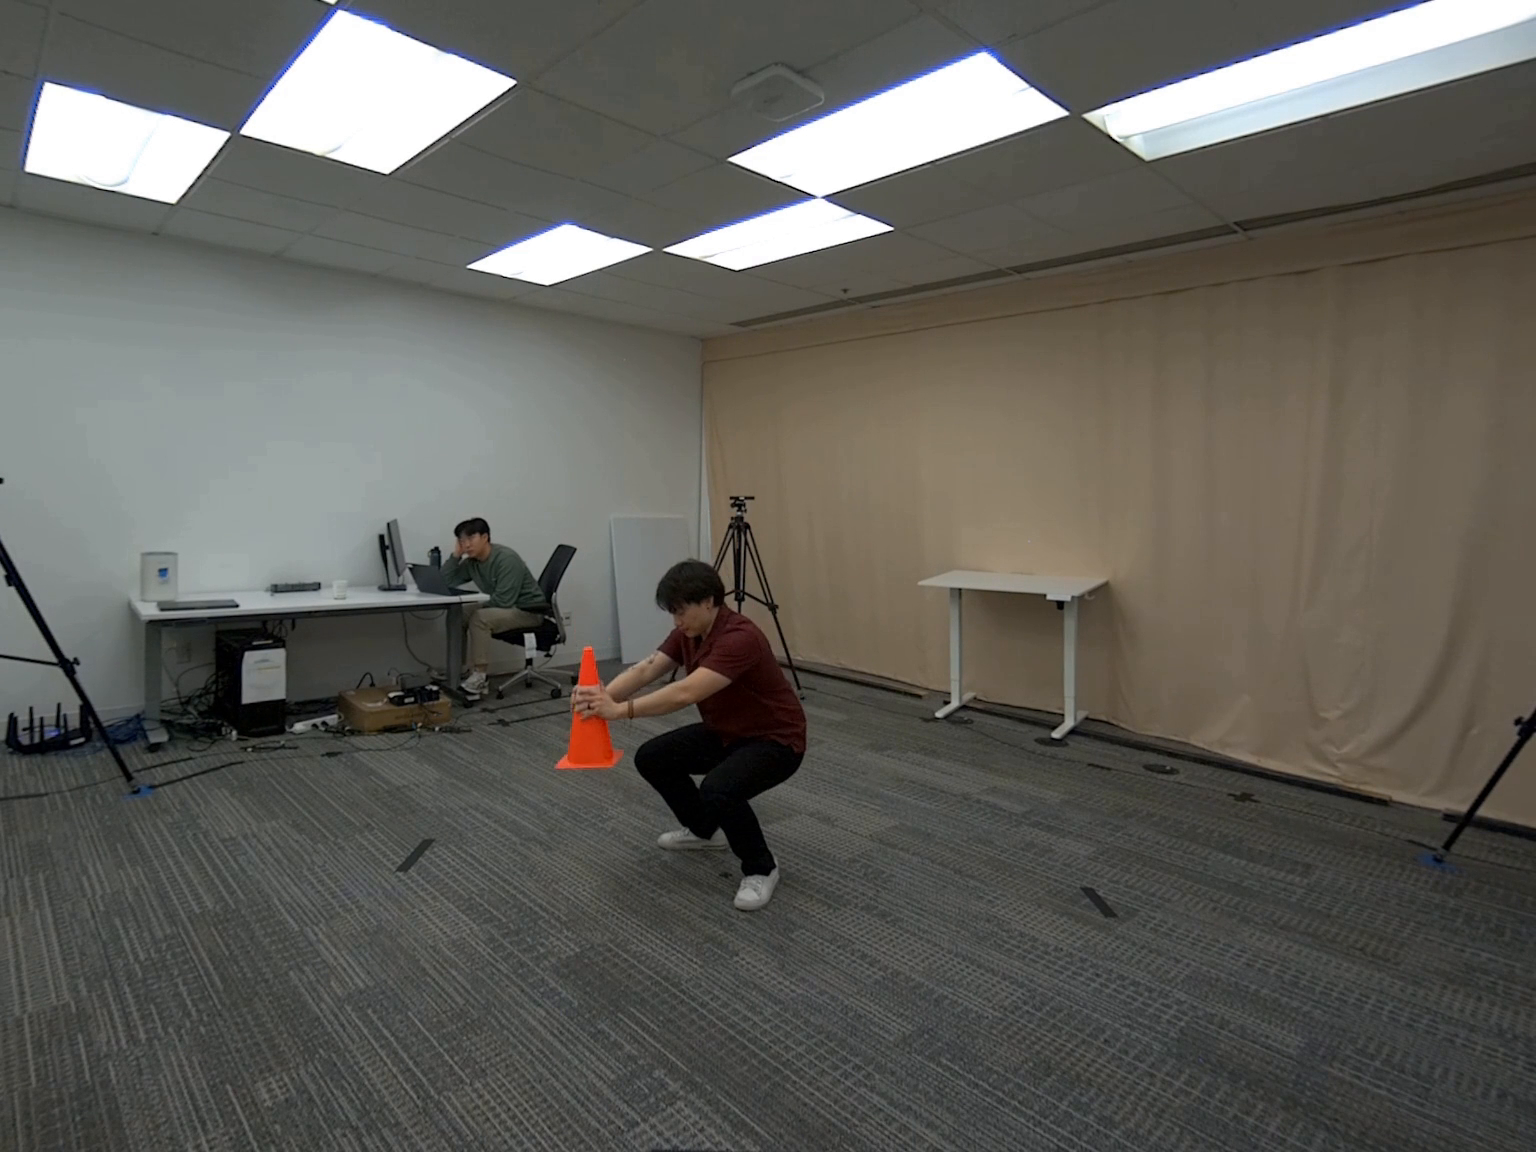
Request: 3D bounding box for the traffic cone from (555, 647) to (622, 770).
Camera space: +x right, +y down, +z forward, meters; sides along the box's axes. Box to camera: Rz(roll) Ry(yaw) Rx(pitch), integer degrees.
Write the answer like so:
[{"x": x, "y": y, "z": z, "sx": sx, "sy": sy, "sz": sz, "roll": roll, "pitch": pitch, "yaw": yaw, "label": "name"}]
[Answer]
[{"x": -0.613, "y": 0.436, "z": 2.858, "sx": 0.203, "sy": 0.383, "sz": 0.205, "roll": 0, "pitch": 2, "yaw": -2, "label": "traffic cone"}]
